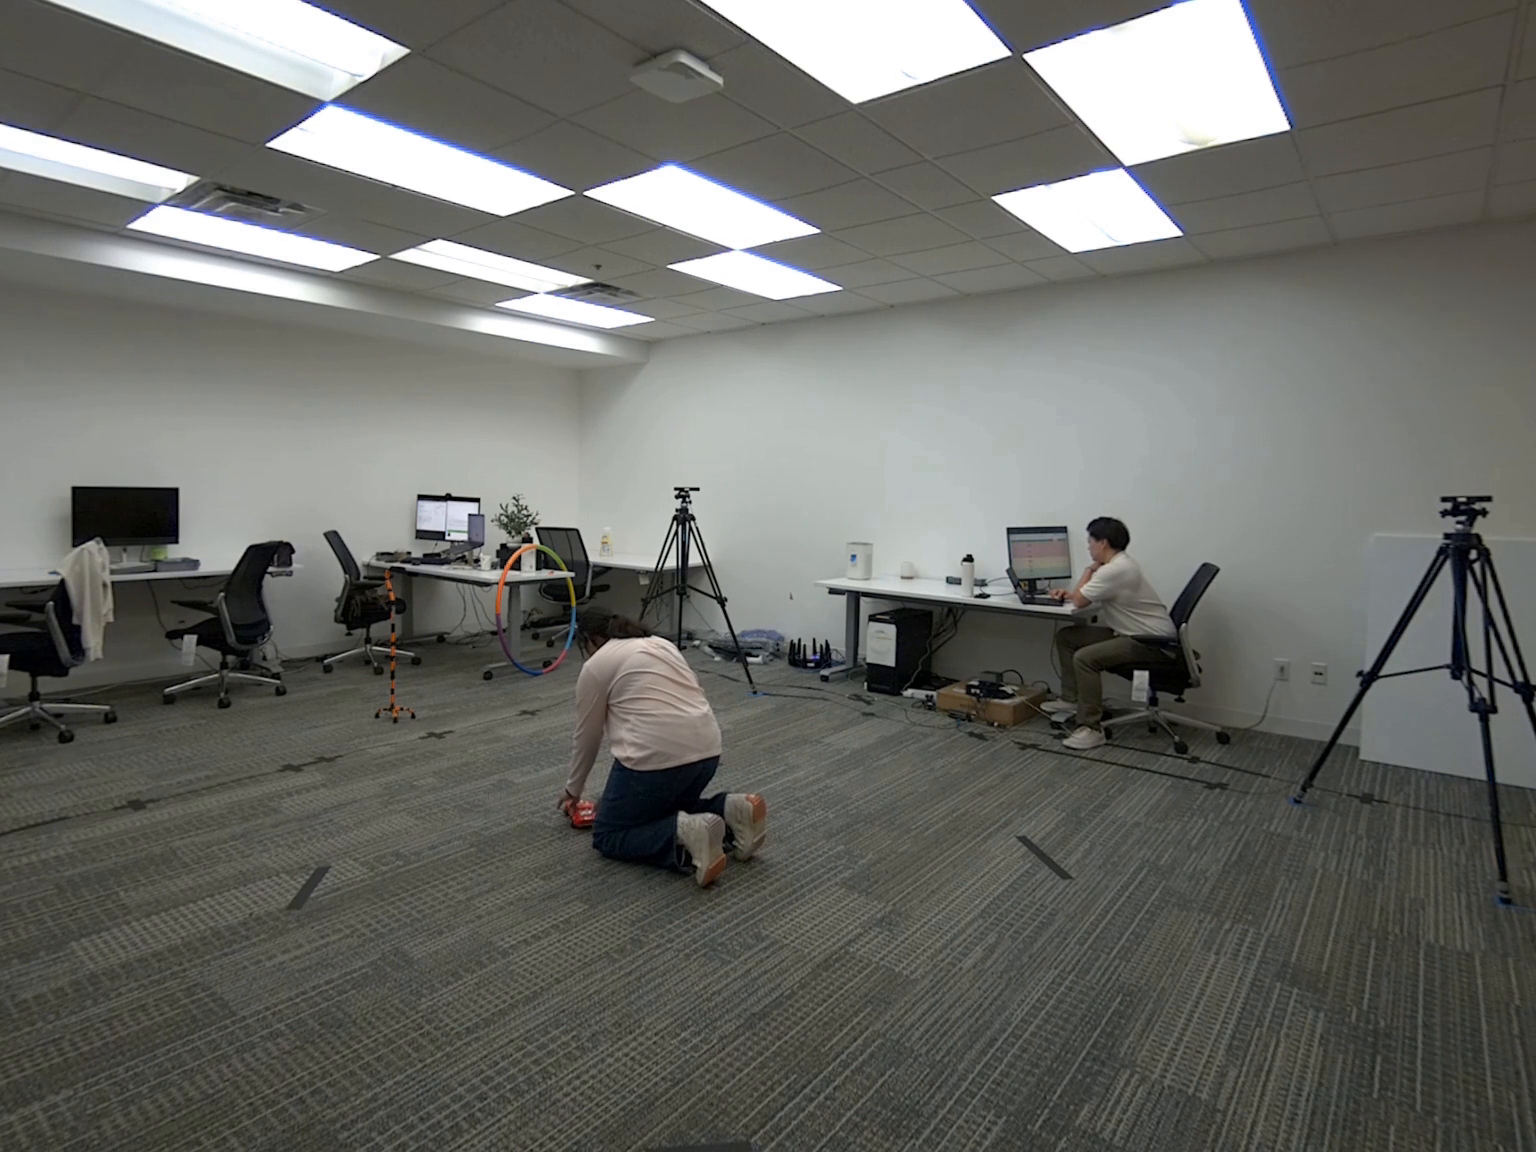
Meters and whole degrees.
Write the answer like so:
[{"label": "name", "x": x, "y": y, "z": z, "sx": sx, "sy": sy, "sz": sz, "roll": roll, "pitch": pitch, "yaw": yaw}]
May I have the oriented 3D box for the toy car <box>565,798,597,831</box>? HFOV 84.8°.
[{"label": "toy car", "x": -0.784, "y": 0.986, "z": 3.536, "sx": 0.128, "sy": 0.083, "sz": 0.258, "roll": -2, "pitch": -4, "yaw": -20}]
